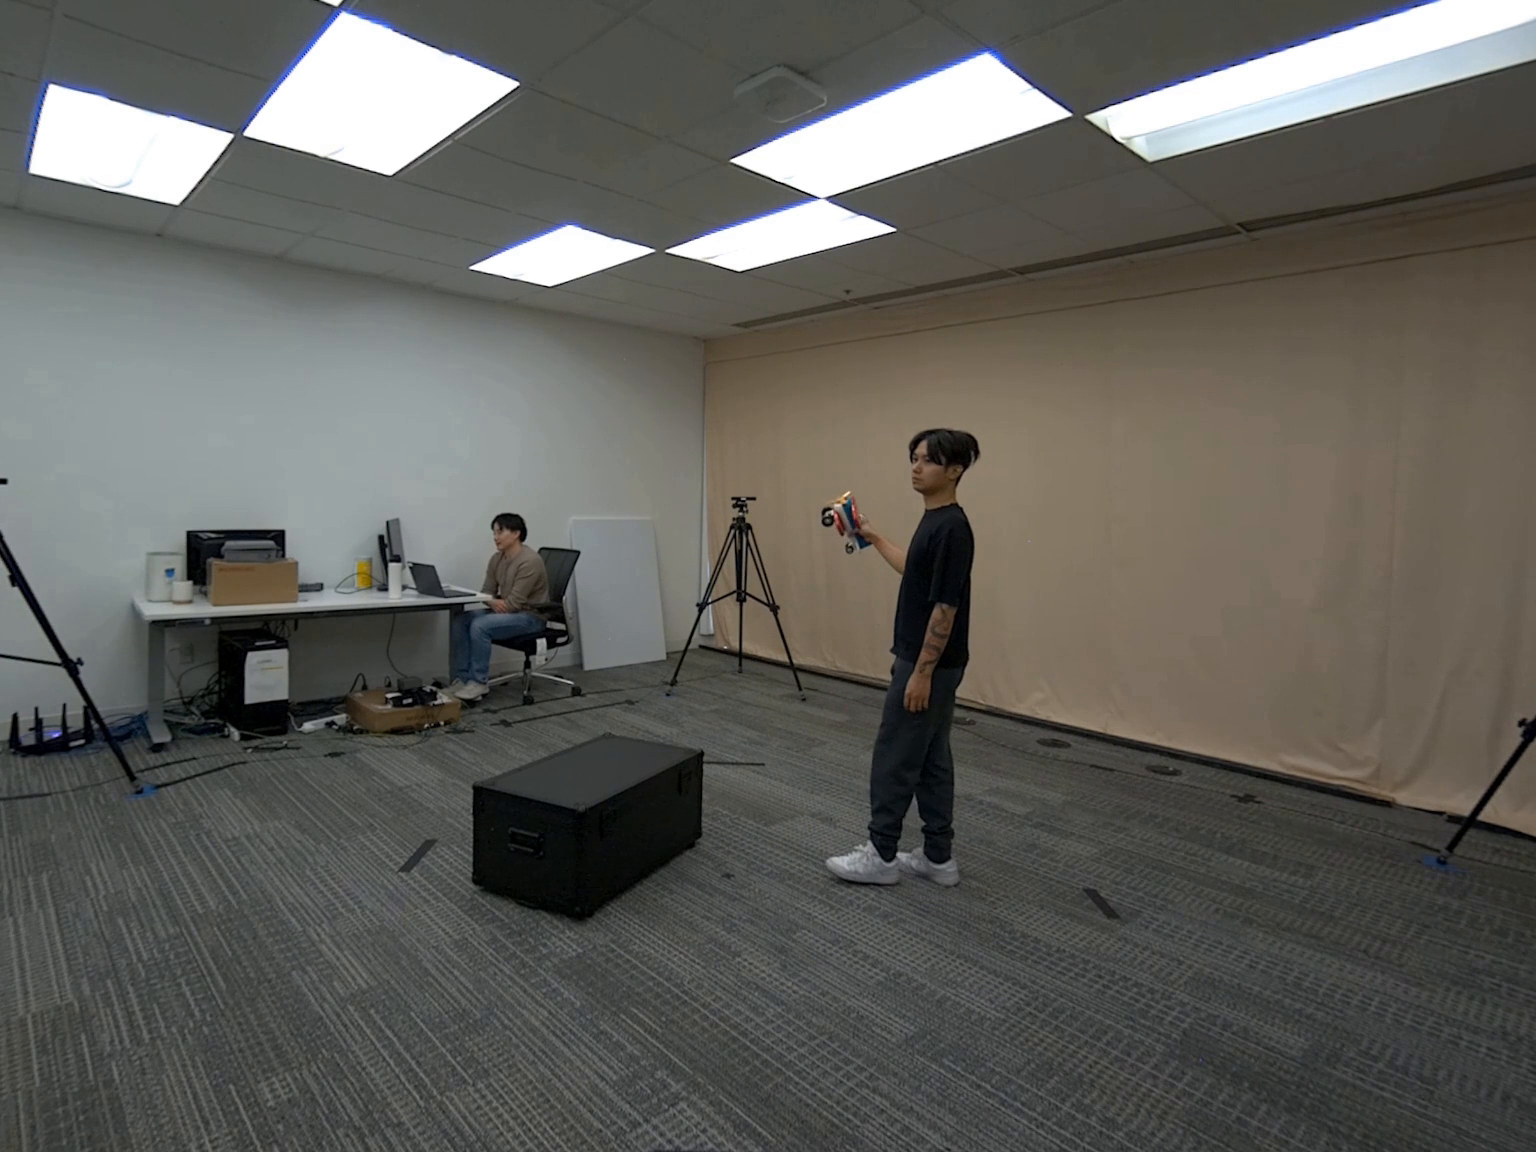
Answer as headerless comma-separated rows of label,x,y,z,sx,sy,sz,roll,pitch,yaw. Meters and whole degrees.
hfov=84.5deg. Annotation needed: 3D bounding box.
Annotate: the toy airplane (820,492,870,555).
toy airplane,0.338,-0.224,3.649,0.157,0.258,0.251,-33,-44,19
